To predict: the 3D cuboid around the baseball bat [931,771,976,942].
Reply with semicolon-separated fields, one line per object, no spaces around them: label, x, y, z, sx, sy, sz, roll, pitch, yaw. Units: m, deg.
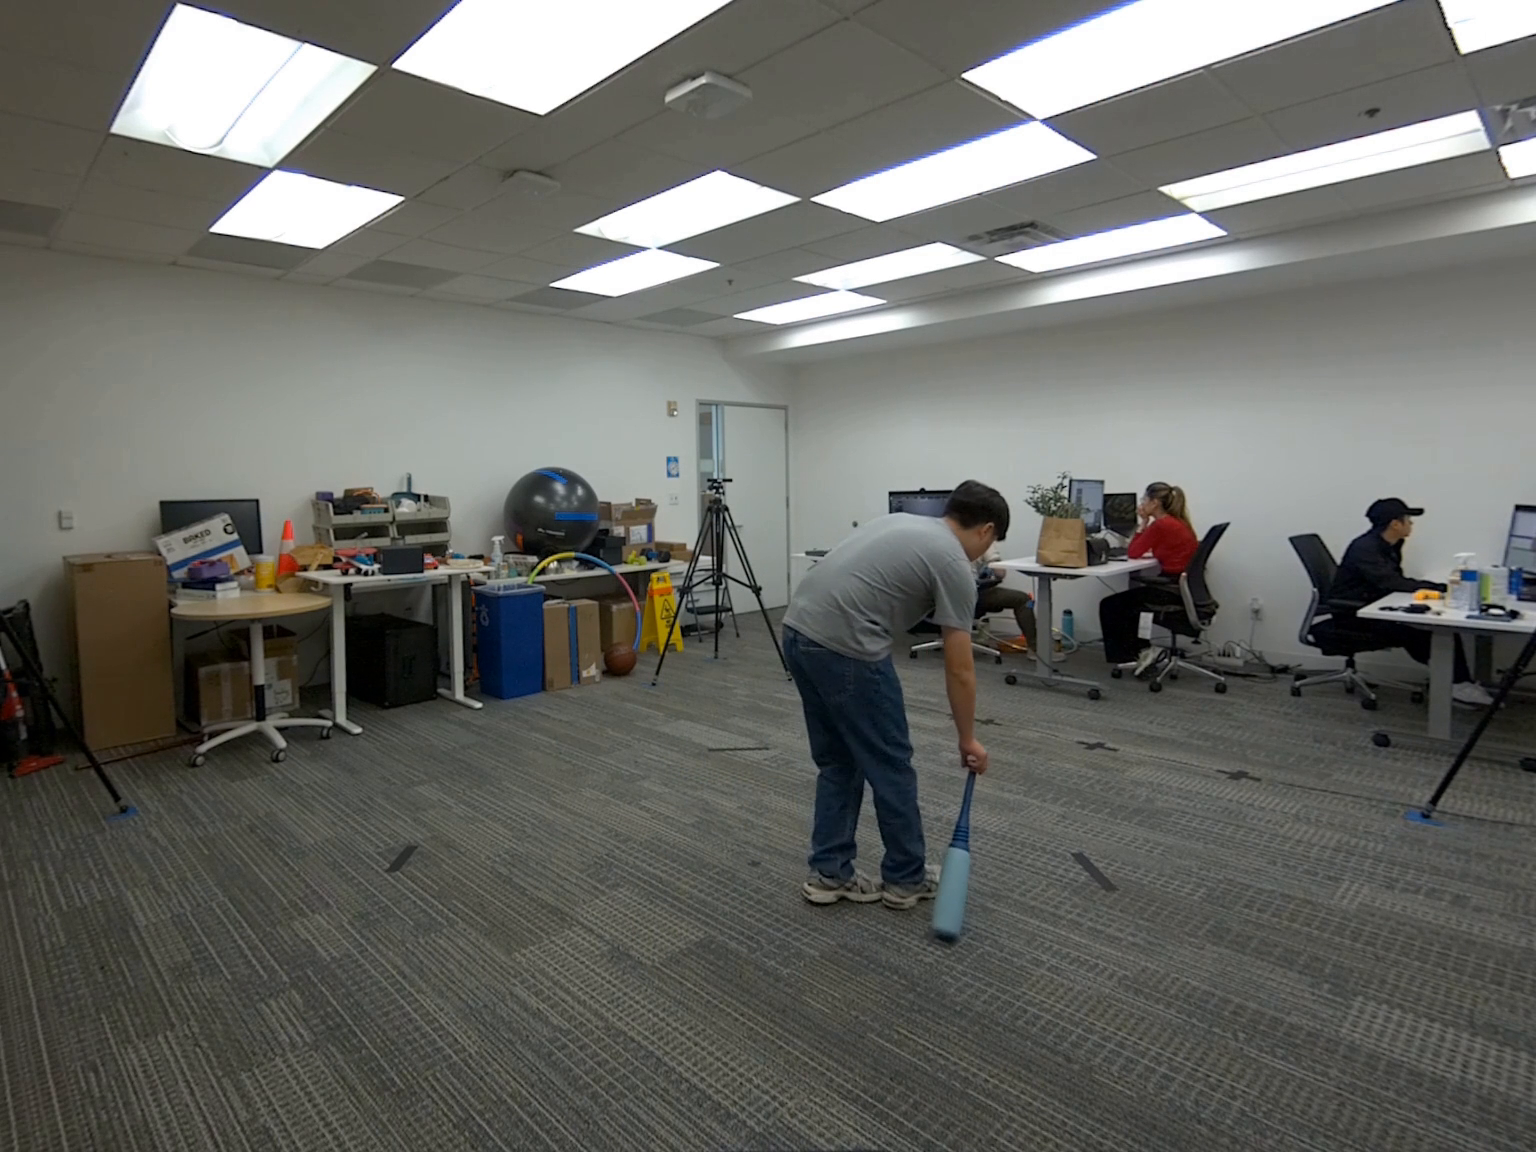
baseball bat;0.606;0.849;2.682;0.090;0.550;0.087;14;-27;5
